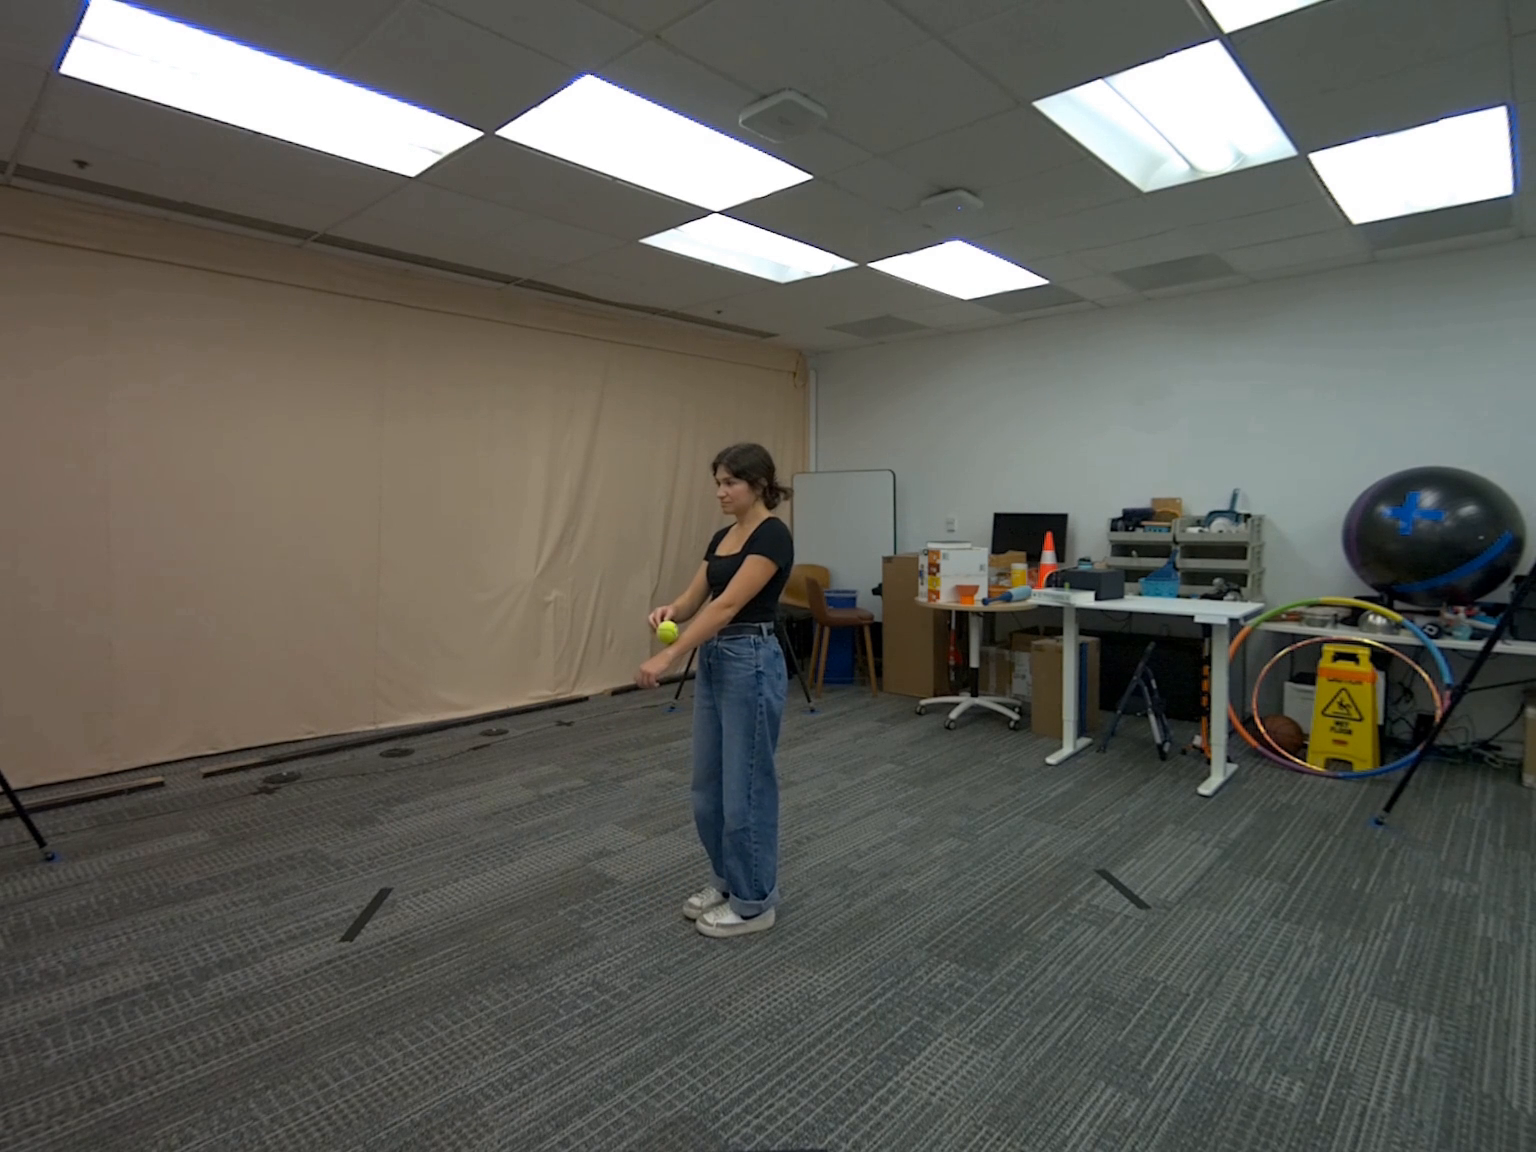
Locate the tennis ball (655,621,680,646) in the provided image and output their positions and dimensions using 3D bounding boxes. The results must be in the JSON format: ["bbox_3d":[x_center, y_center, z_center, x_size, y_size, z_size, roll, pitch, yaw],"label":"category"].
[{"bbox_3d":[-0.299,0.171,2.545,0.066,0.066,0.067,0,4,-2],"label":"tennis ball"}]
